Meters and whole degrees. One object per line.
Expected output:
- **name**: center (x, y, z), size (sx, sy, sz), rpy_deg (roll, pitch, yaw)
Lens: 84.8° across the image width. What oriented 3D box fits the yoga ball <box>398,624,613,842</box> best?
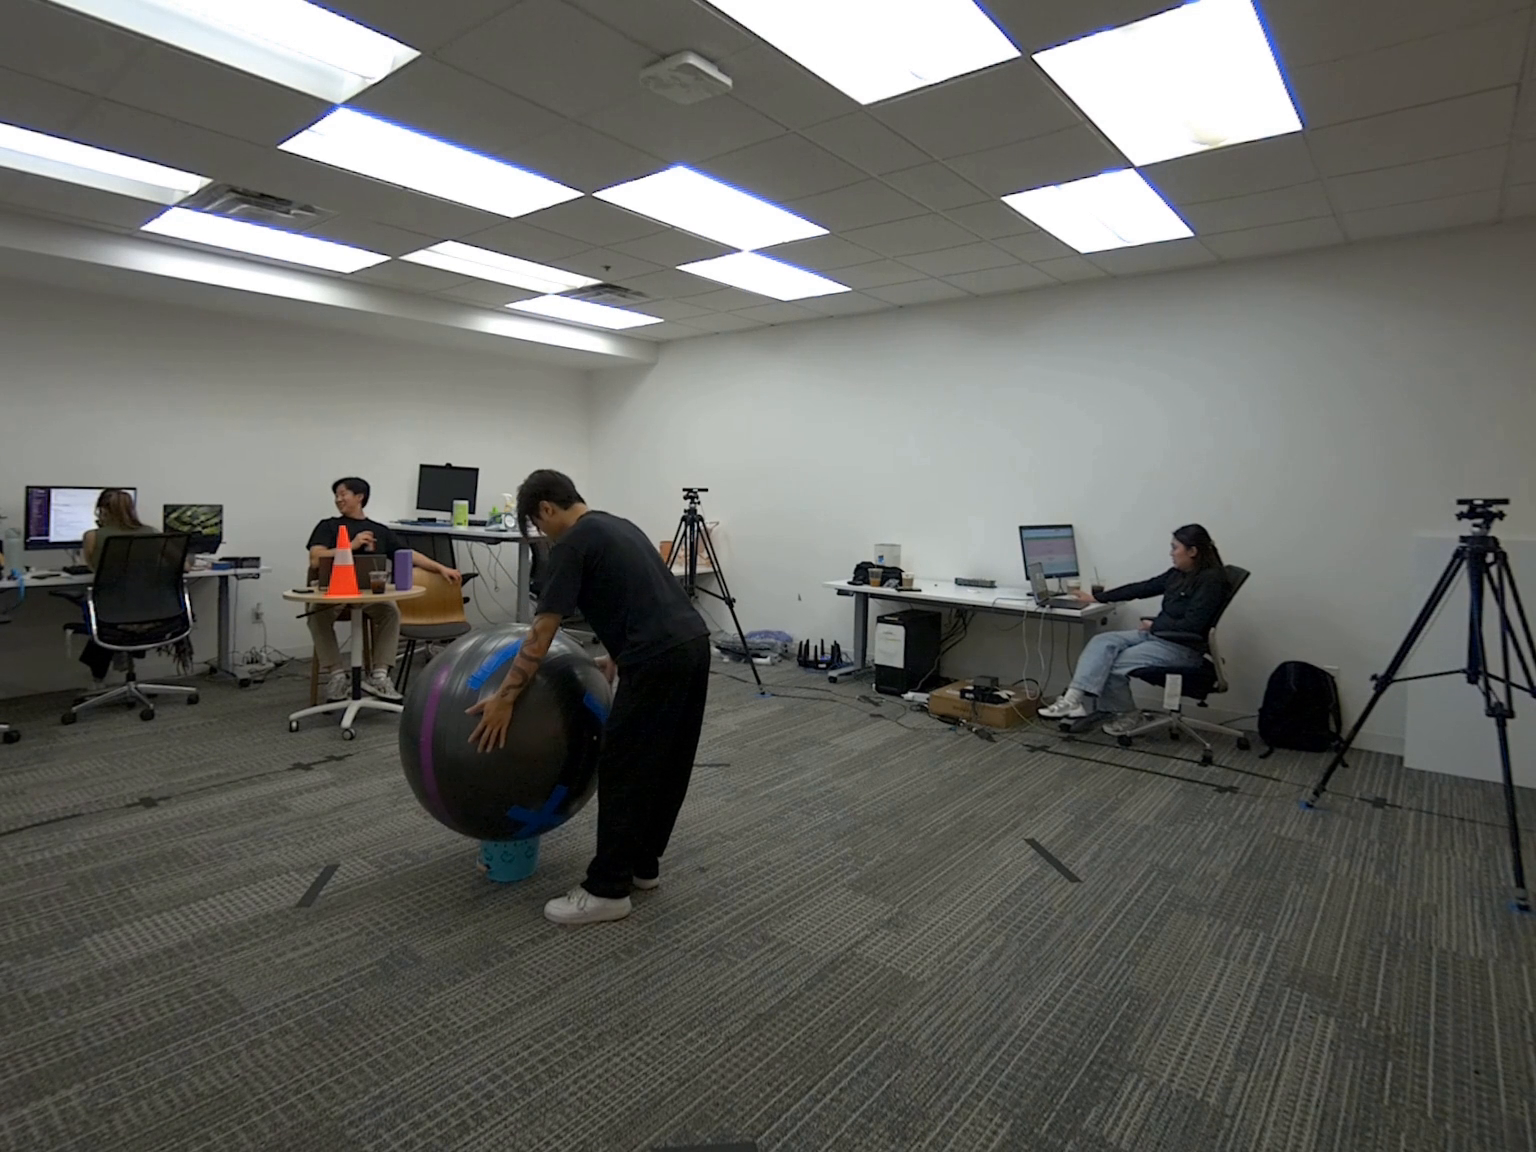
- **yoga ball**: center (-0.950, 0.556, 3.050), size (0.757, 0.756, 0.762), rpy_deg (1, 4, -2)
